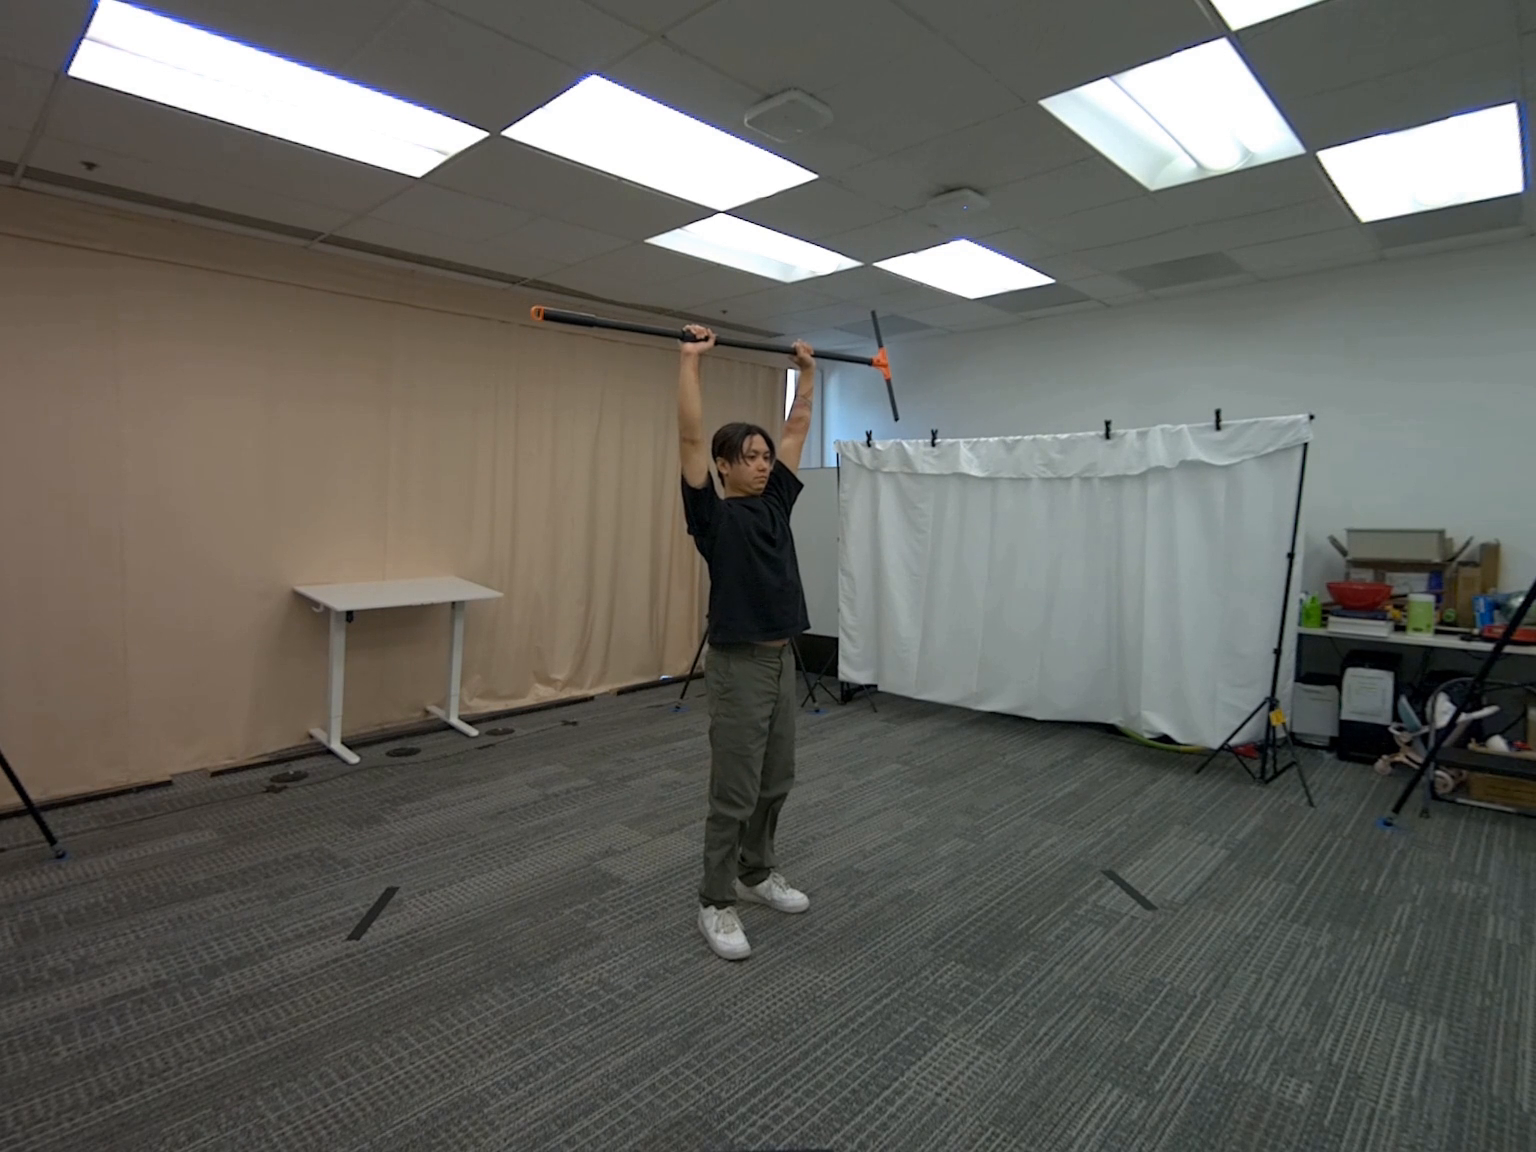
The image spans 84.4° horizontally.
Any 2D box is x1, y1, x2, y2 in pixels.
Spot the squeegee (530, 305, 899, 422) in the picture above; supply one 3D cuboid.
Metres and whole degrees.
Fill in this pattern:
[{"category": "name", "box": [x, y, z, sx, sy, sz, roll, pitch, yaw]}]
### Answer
[{"category": "squeegee", "box": [-0.064, -0.739, 2.693, 1.492, 0.439, 0.054, -6, -5, -44]}]
